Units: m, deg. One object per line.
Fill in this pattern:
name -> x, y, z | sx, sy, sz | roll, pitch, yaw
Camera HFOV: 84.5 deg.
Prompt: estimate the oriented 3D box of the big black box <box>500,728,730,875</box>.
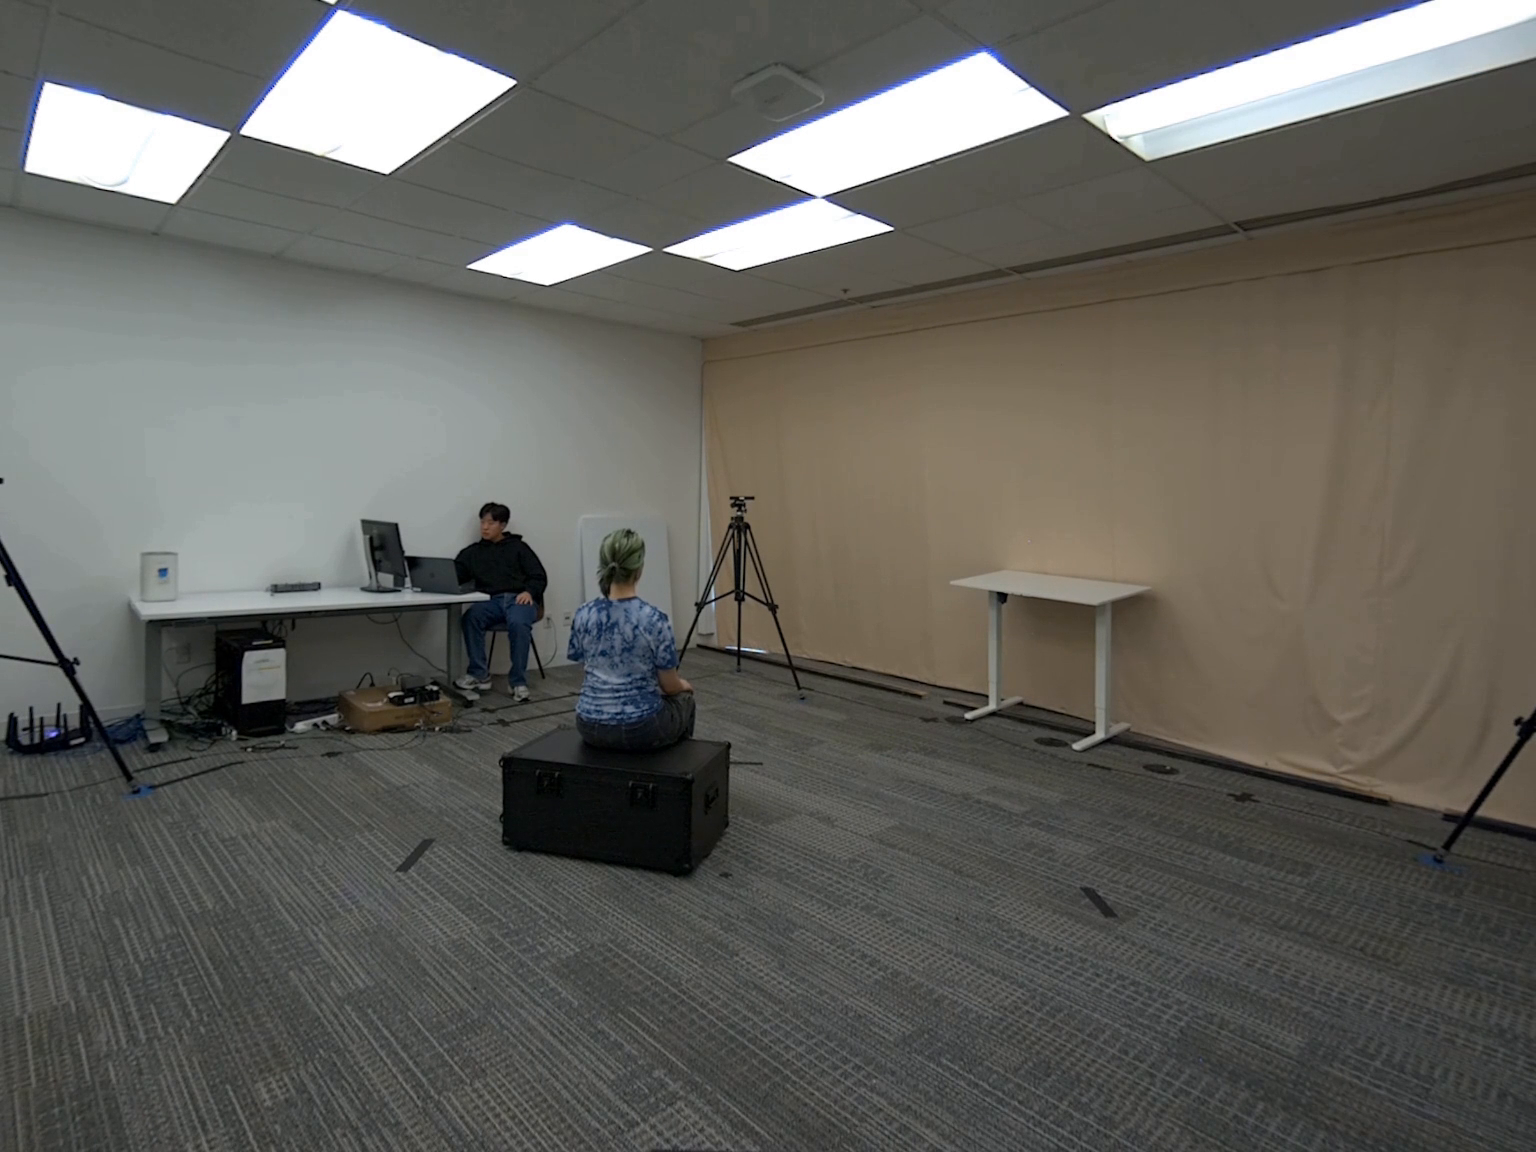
big black box -> -0.634, 0.878, 3.388 | 0.872, 0.395, 0.516 | 3, 5, 15
